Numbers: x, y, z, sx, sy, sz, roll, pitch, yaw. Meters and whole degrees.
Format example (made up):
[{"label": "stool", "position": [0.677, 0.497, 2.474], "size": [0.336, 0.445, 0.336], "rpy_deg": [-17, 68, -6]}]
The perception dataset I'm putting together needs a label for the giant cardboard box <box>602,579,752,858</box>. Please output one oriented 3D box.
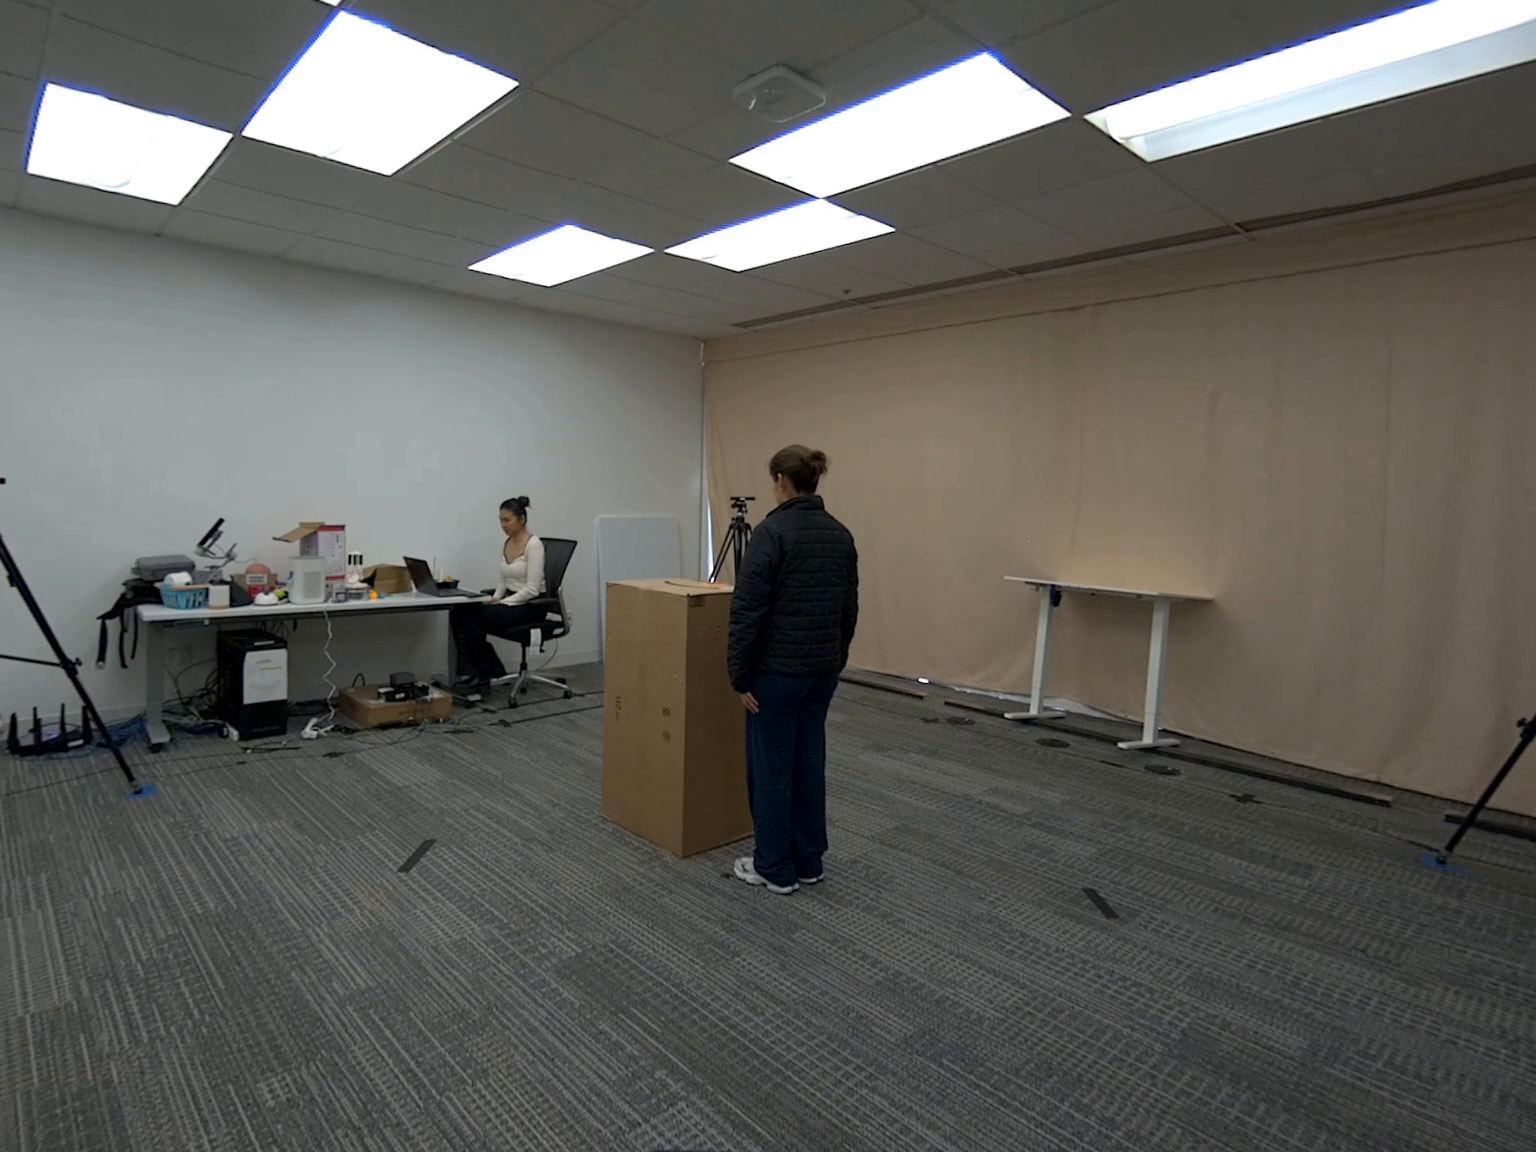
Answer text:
[{"label": "giant cardboard box", "position": [-0.370, 0.553, 3.558], "size": [0.416, 1.023, 0.592], "rpy_deg": [-1, 4, -43]}]
